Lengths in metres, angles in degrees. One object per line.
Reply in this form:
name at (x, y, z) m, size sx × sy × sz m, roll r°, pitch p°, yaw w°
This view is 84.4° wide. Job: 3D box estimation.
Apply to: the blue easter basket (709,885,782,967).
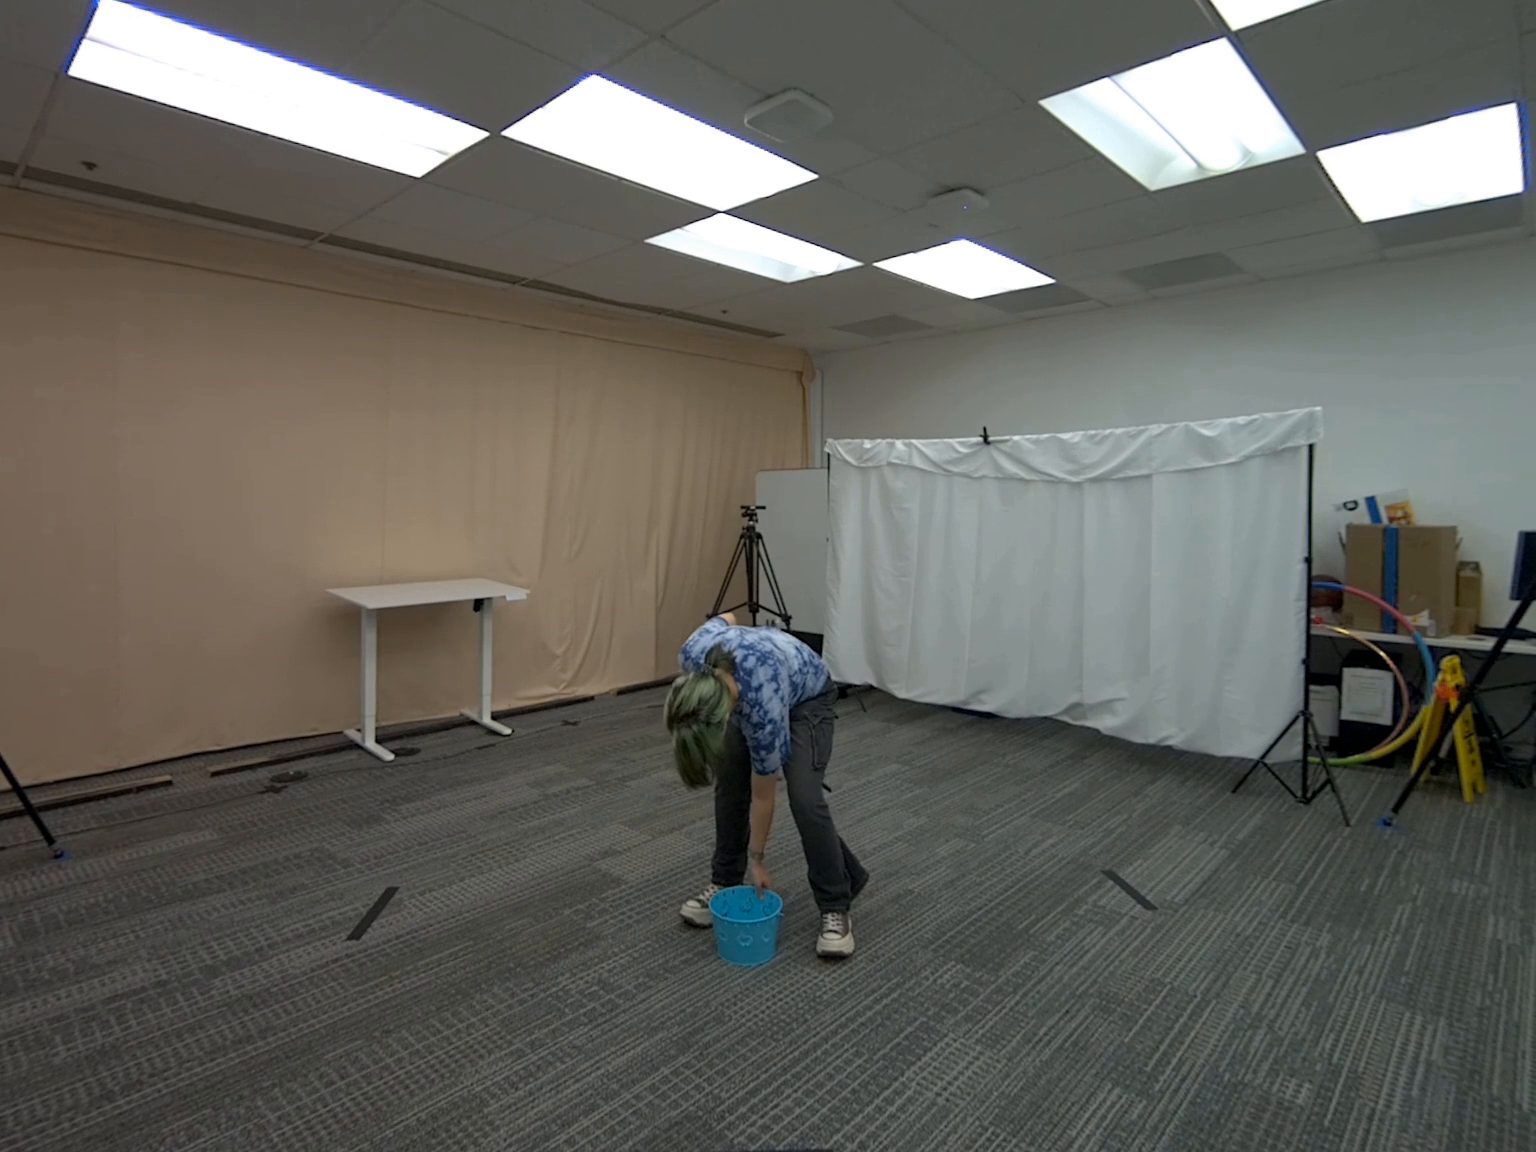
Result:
blue easter basket at (-0.065, 1.093, 2.628) m, size 0.243 × 0.155 × 0.244 m, roll 0°, pitch 5°, yaw -2°
